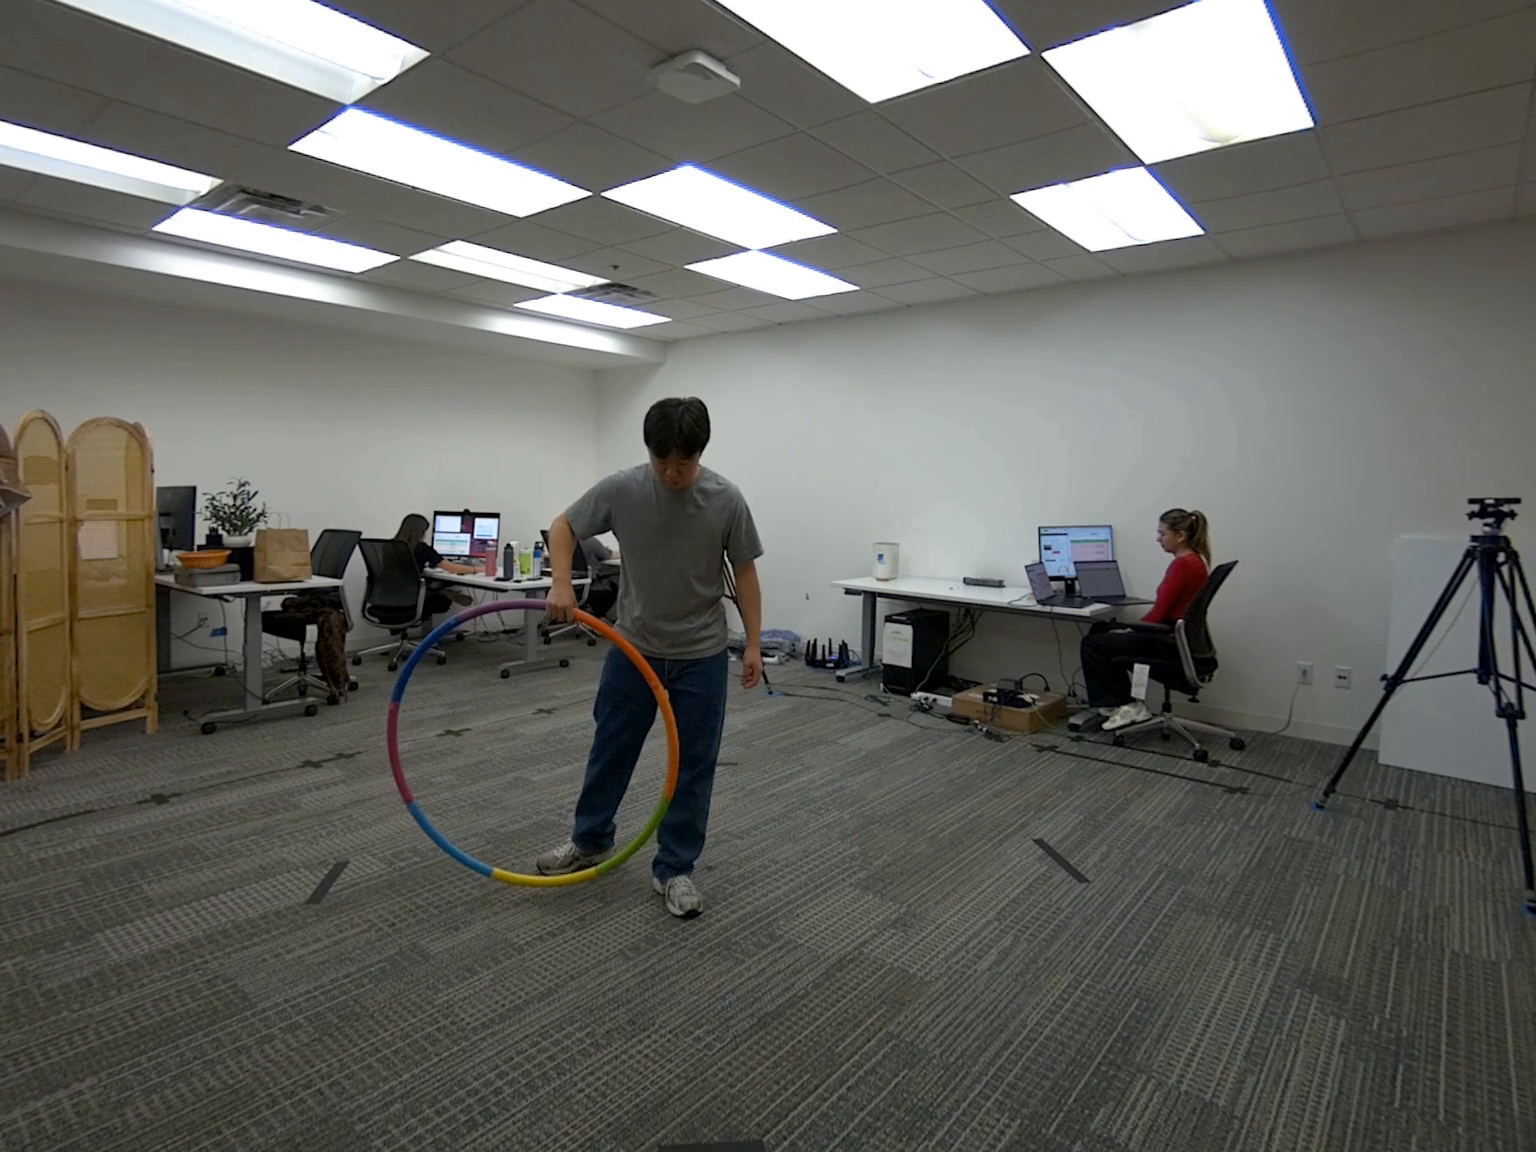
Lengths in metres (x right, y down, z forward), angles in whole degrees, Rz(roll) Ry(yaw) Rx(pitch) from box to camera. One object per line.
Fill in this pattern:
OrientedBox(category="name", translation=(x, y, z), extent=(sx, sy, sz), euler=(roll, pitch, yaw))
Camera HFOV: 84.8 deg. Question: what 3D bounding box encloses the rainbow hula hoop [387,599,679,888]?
OrientedBox(category="rainbow hula hoop", translation=(-0.785, 0.564, 2.771), extent=(0.987, 0.970, 0.035), euler=(2, 9, 8))
